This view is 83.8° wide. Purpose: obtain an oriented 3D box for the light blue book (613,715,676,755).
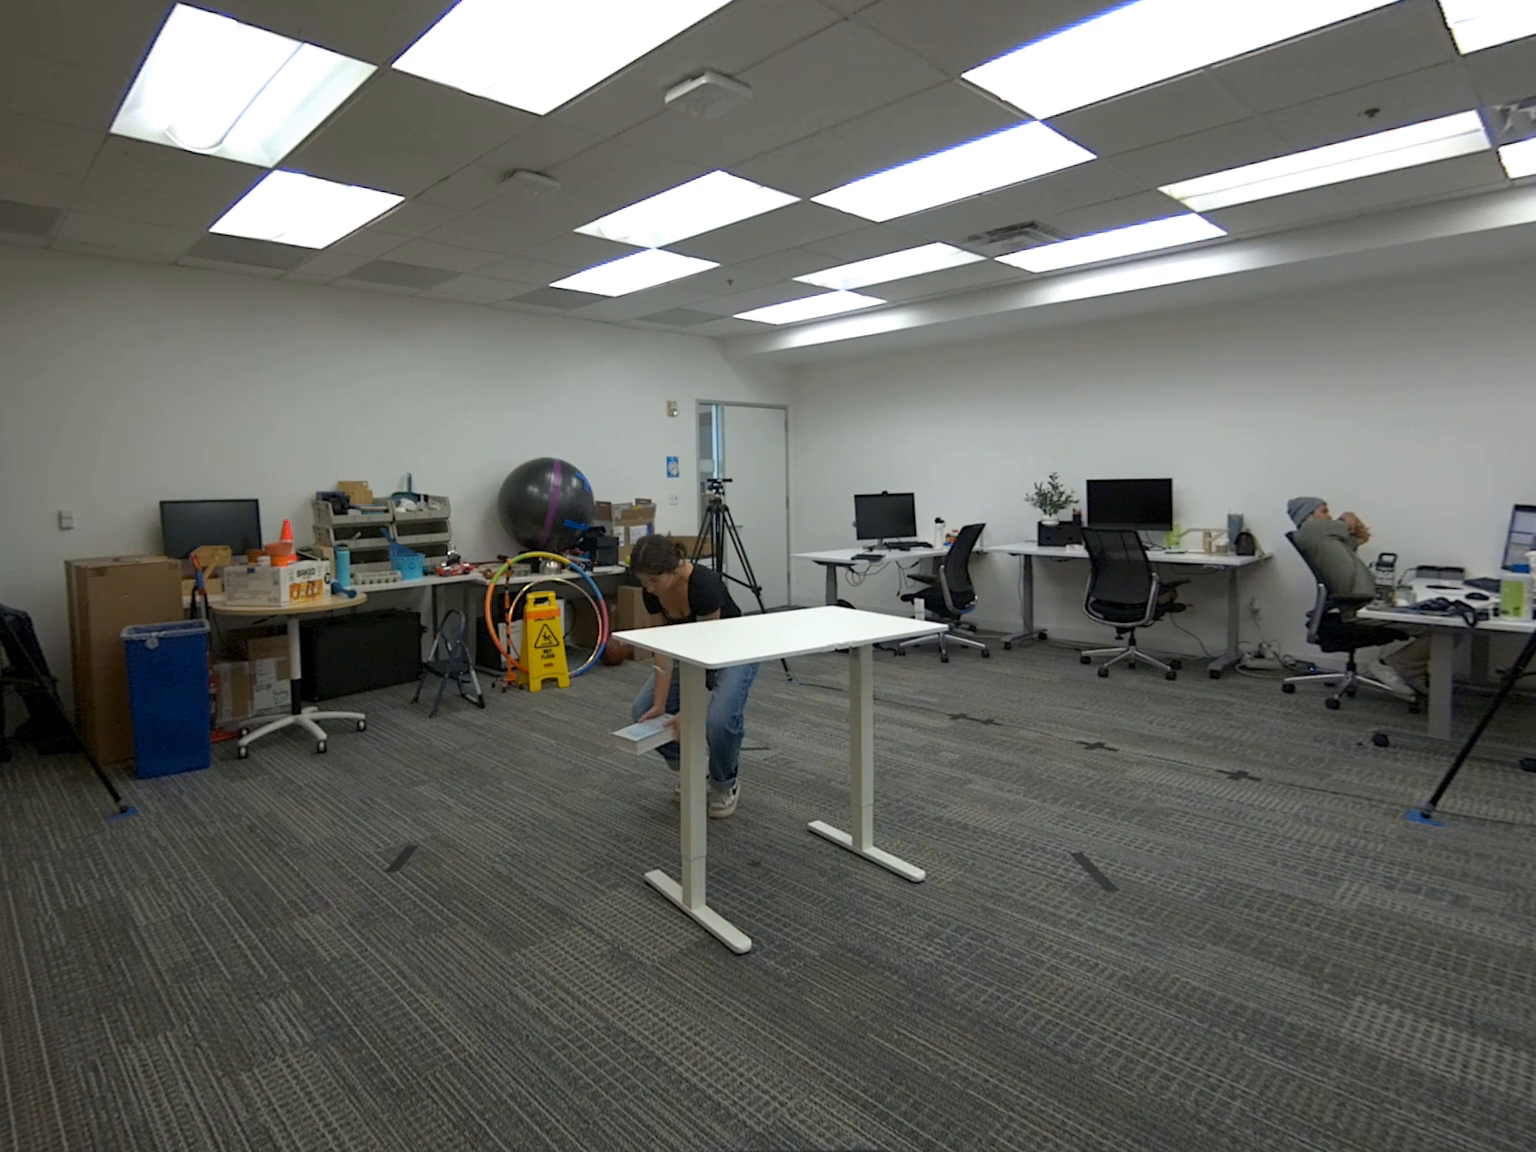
[{"bbox_3d":[-0.474,0.638,3.457,0.255,0.058,0.197,-16,10,-38],"label":"light blue book"}]
